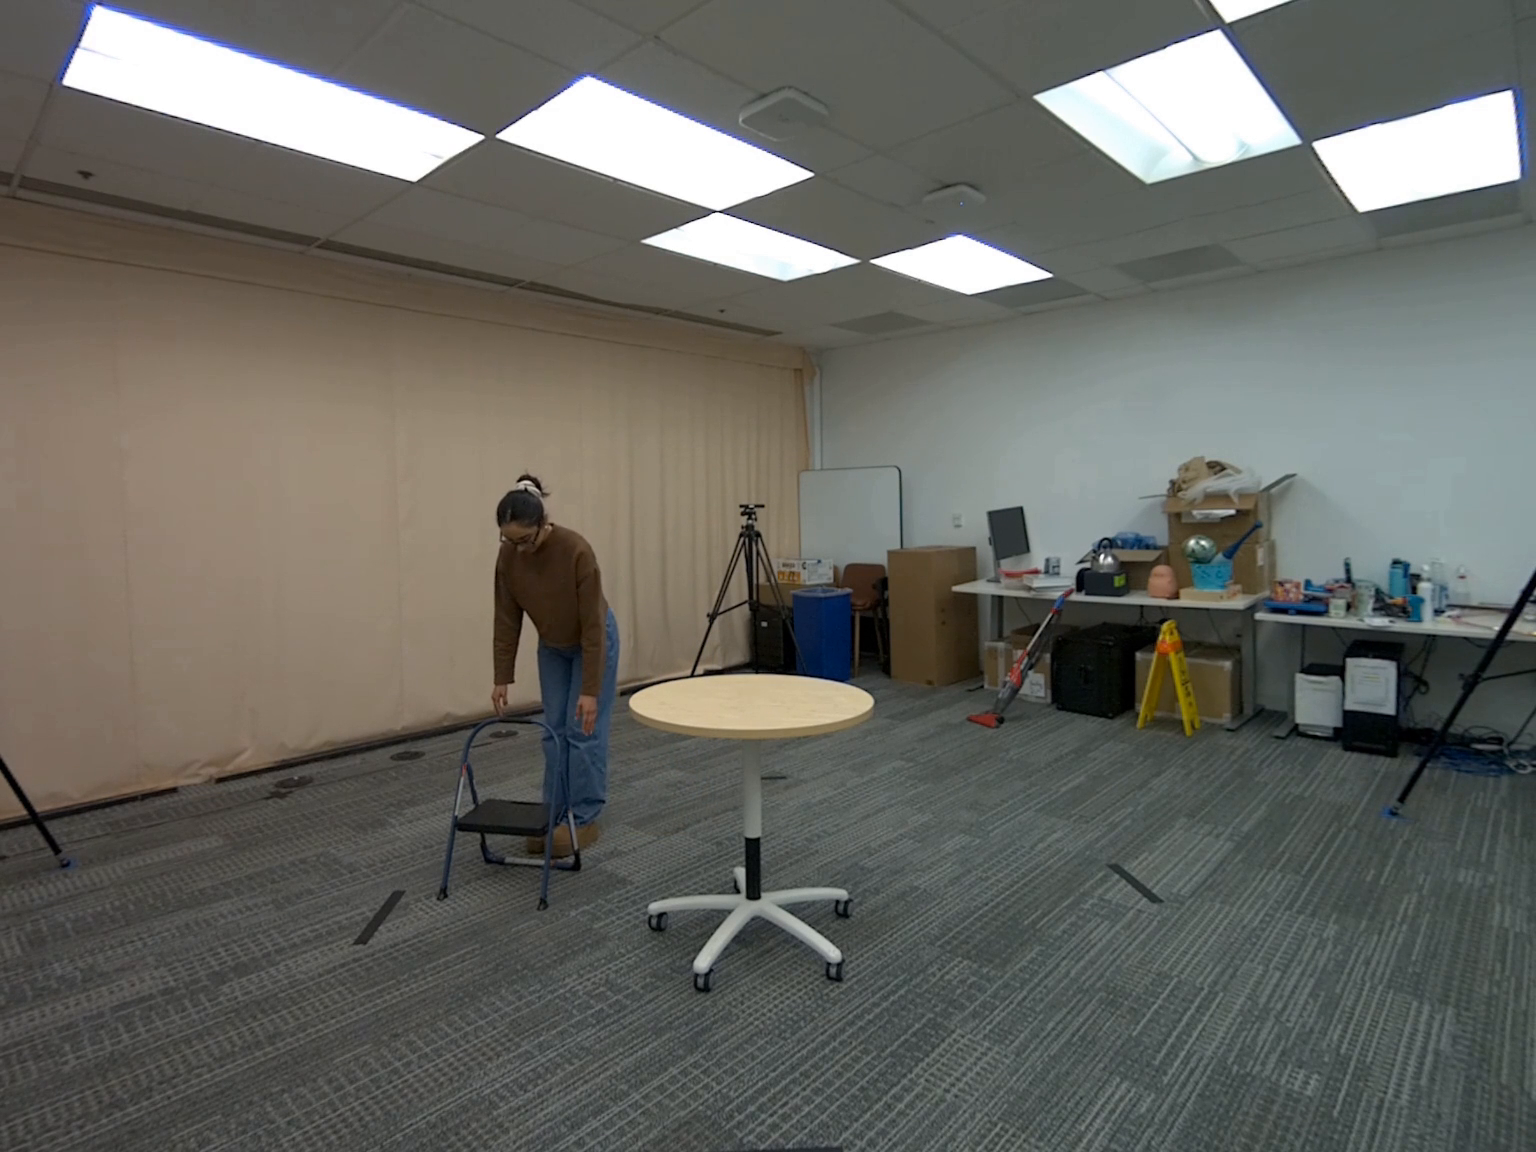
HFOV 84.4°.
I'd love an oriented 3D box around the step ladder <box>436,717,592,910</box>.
[{"bbox_3d":[-0.955,0.844,3.132,0.437,0.605,0.345,0,3,13],"label":"step ladder"}]
